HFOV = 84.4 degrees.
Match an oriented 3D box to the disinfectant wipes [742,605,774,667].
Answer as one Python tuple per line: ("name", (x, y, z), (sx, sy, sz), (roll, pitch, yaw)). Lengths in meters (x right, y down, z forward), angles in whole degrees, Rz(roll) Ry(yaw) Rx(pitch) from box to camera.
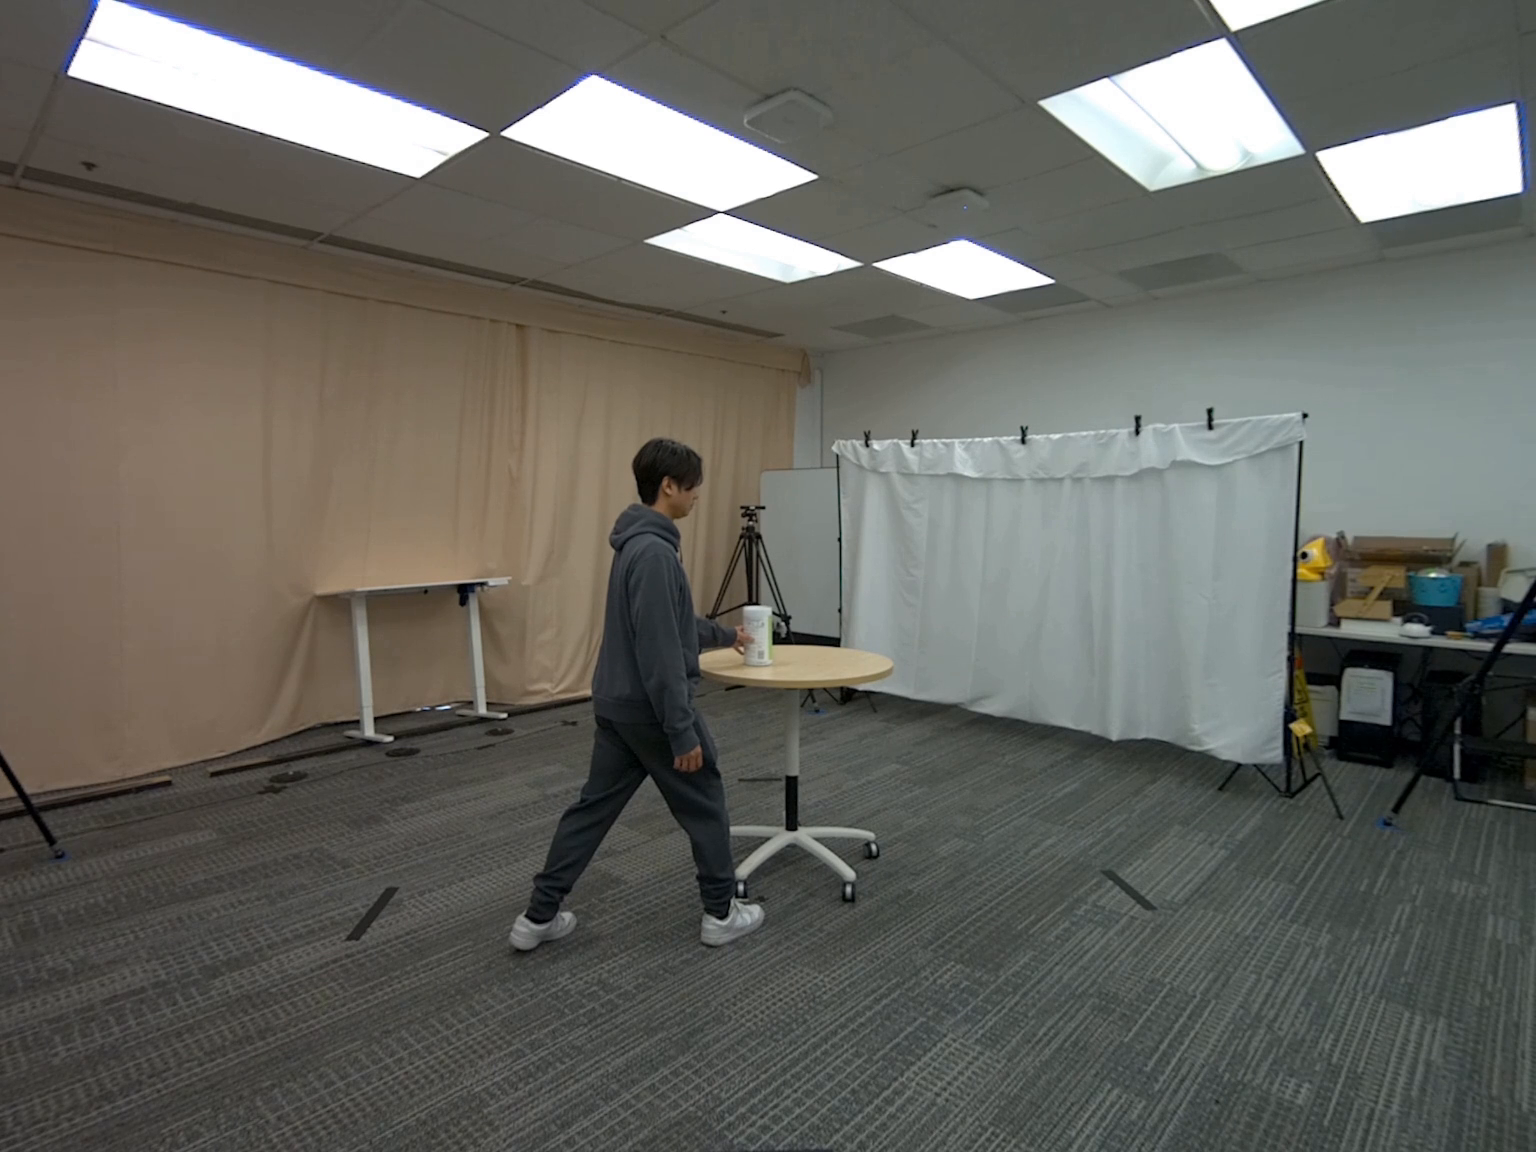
("disinfectant wipes", (-0.036, 0.227, 3.162), (0.118, 0.217, 0.118), (1, 2, -2))
